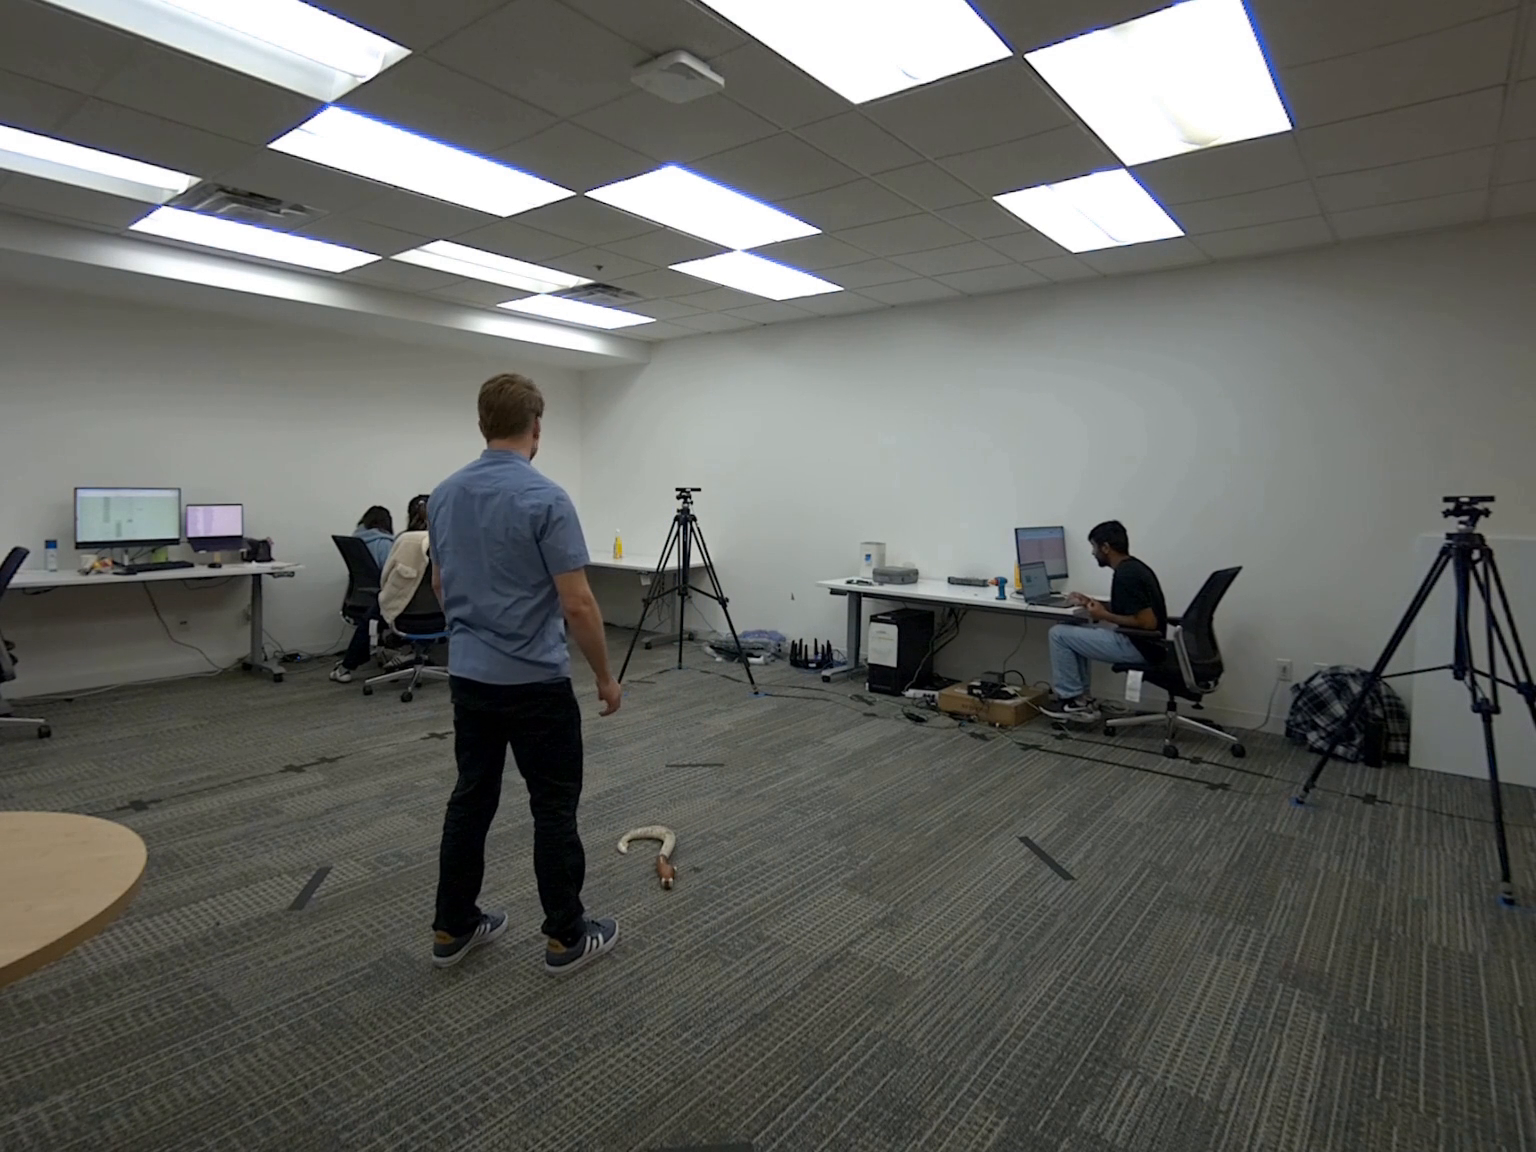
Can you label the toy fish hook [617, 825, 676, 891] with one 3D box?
[{"bbox_3d":[-0.452,1.042,3.169,0.223,0.048,0.513,-9,7,-10],"label":"toy fish hook"}]
